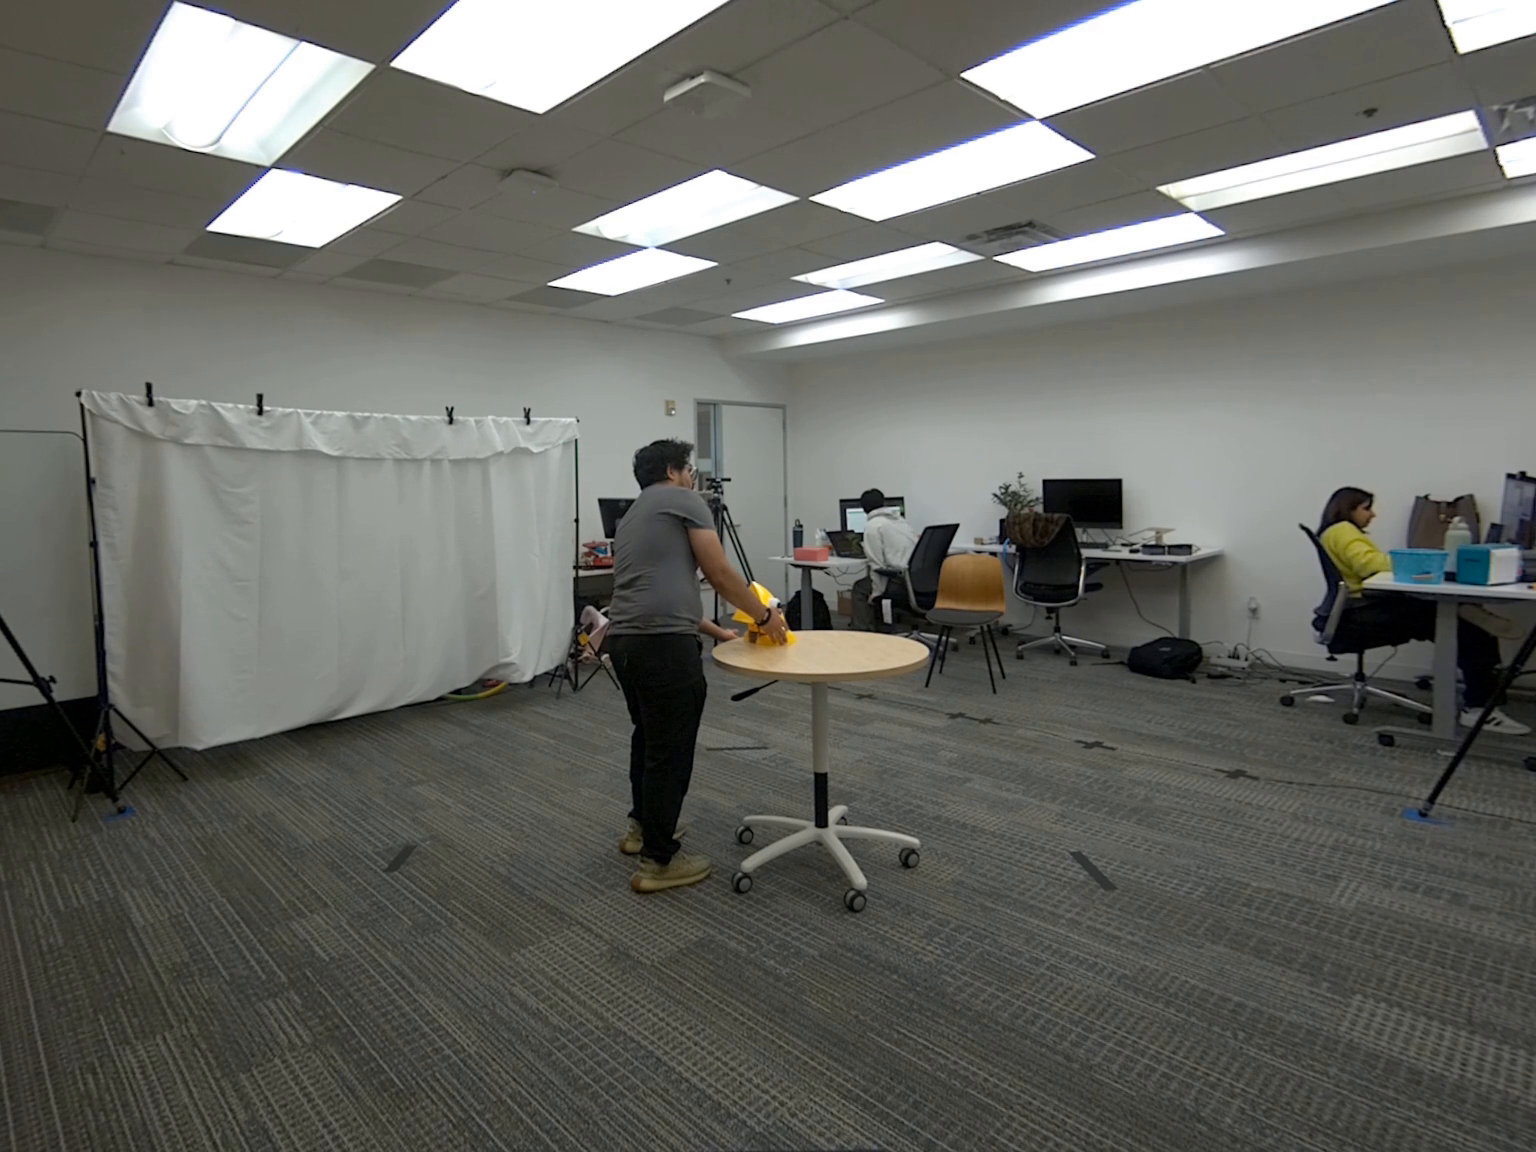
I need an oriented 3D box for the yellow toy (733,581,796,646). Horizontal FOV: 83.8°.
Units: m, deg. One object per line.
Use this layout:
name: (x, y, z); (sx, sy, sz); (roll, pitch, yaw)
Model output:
yellow toy: (-0.007, 0.133, 3.237); (0.188, 0.230, 0.211); (-4, 5, -34)
